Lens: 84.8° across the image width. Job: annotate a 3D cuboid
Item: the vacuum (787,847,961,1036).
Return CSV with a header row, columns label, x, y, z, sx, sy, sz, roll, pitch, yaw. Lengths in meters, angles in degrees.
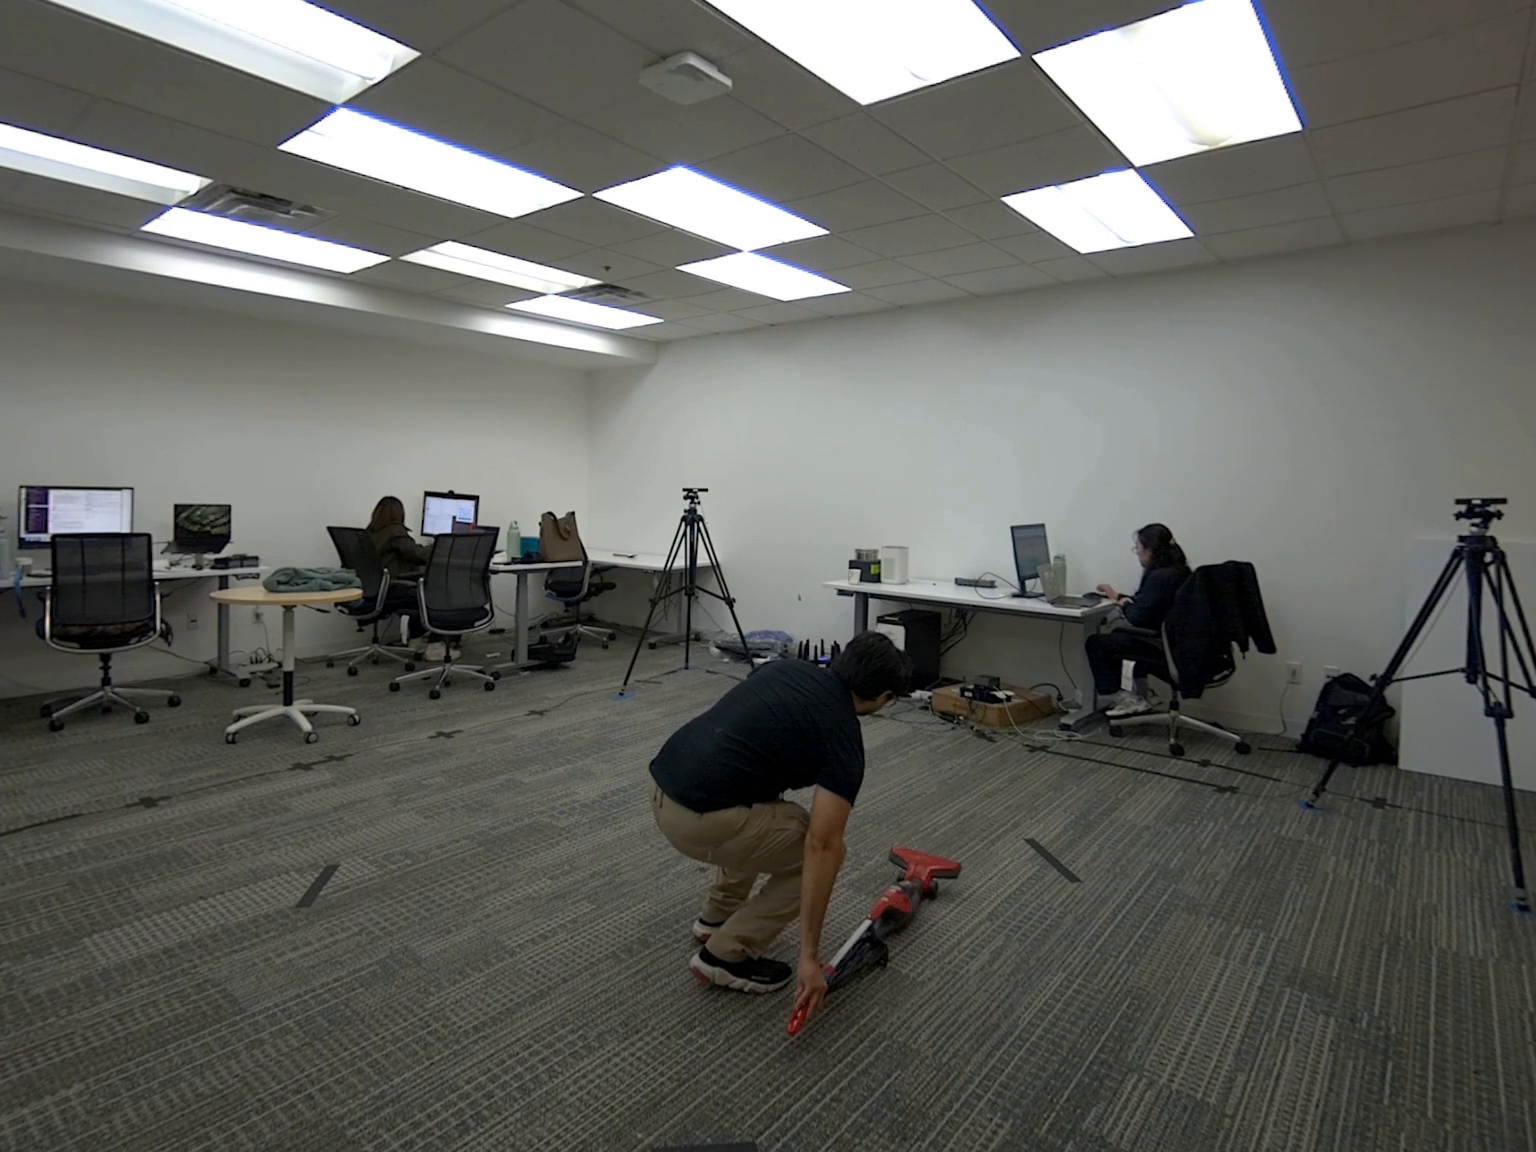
label,x,y,z,sx,sy,sz,roll,pitch,yaw
vacuum,0.302,1.076,2.558,0.259,0.143,1.024,2,5,28
